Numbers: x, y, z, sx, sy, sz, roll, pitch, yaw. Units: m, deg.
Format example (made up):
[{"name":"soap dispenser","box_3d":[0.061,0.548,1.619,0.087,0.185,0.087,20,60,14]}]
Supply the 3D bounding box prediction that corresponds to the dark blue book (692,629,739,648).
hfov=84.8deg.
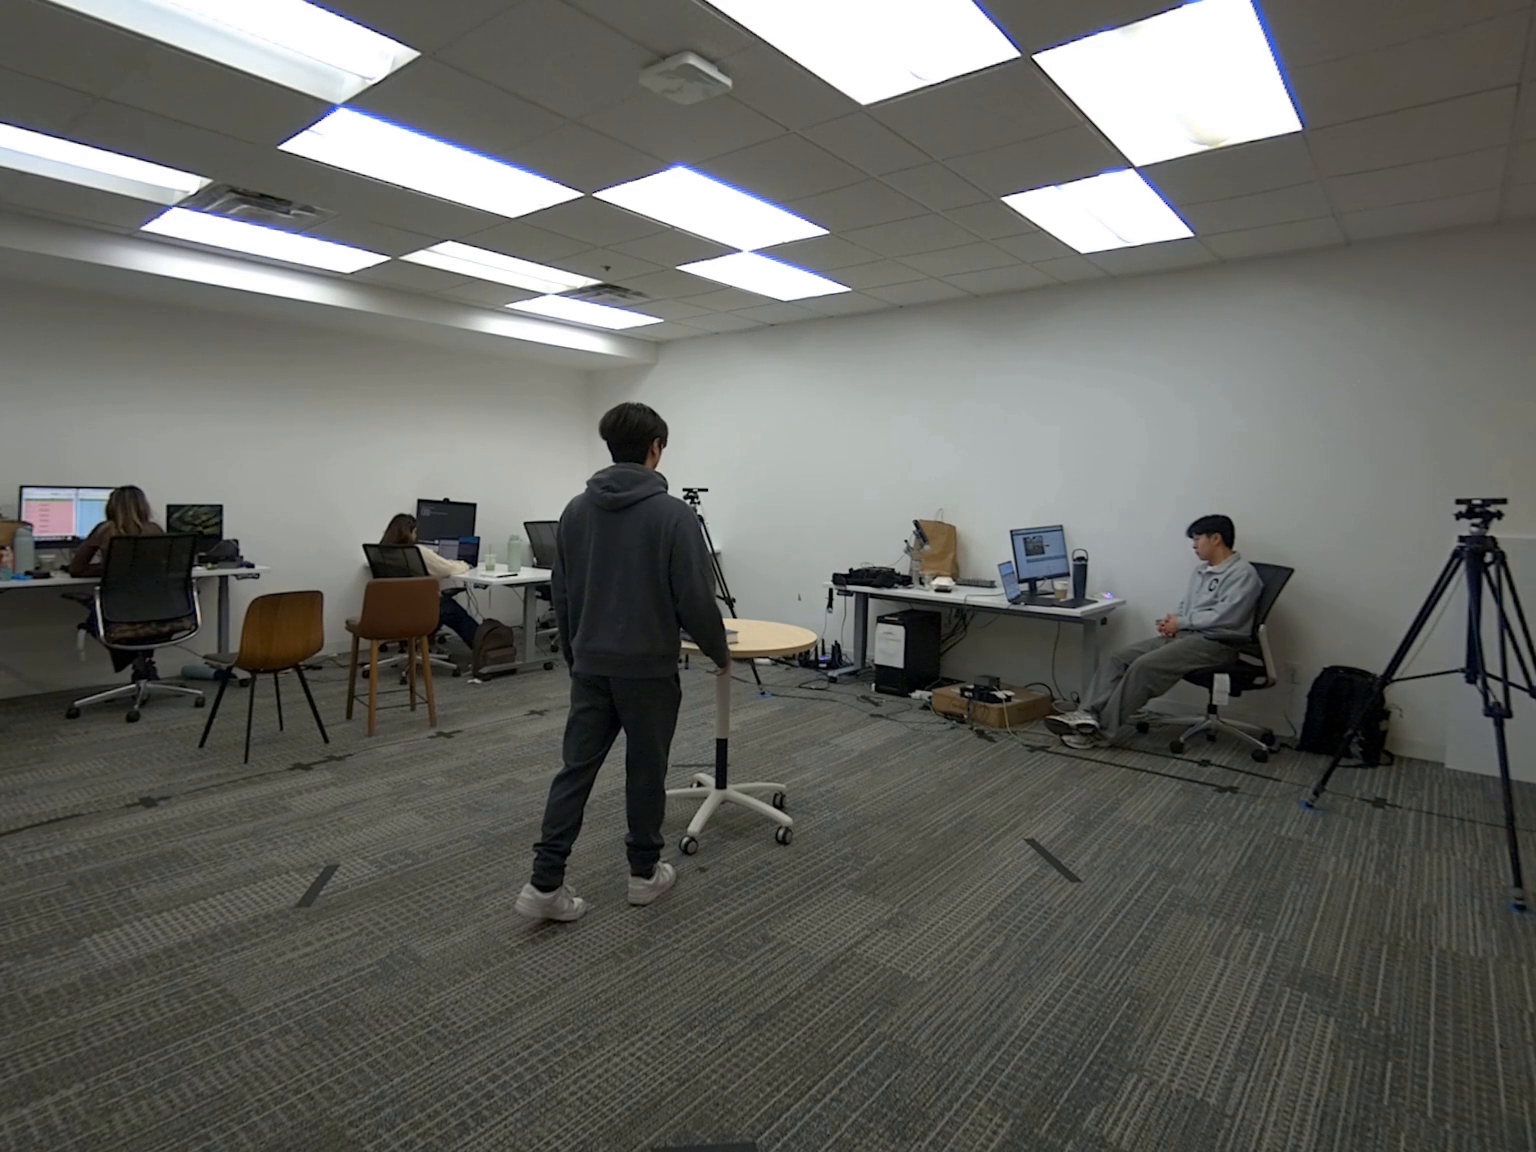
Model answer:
[{"name":"dark blue book","box_3d":[-0.258,0.230,3.354,0.158,0.045,0.253,-3,7,-42]}]
